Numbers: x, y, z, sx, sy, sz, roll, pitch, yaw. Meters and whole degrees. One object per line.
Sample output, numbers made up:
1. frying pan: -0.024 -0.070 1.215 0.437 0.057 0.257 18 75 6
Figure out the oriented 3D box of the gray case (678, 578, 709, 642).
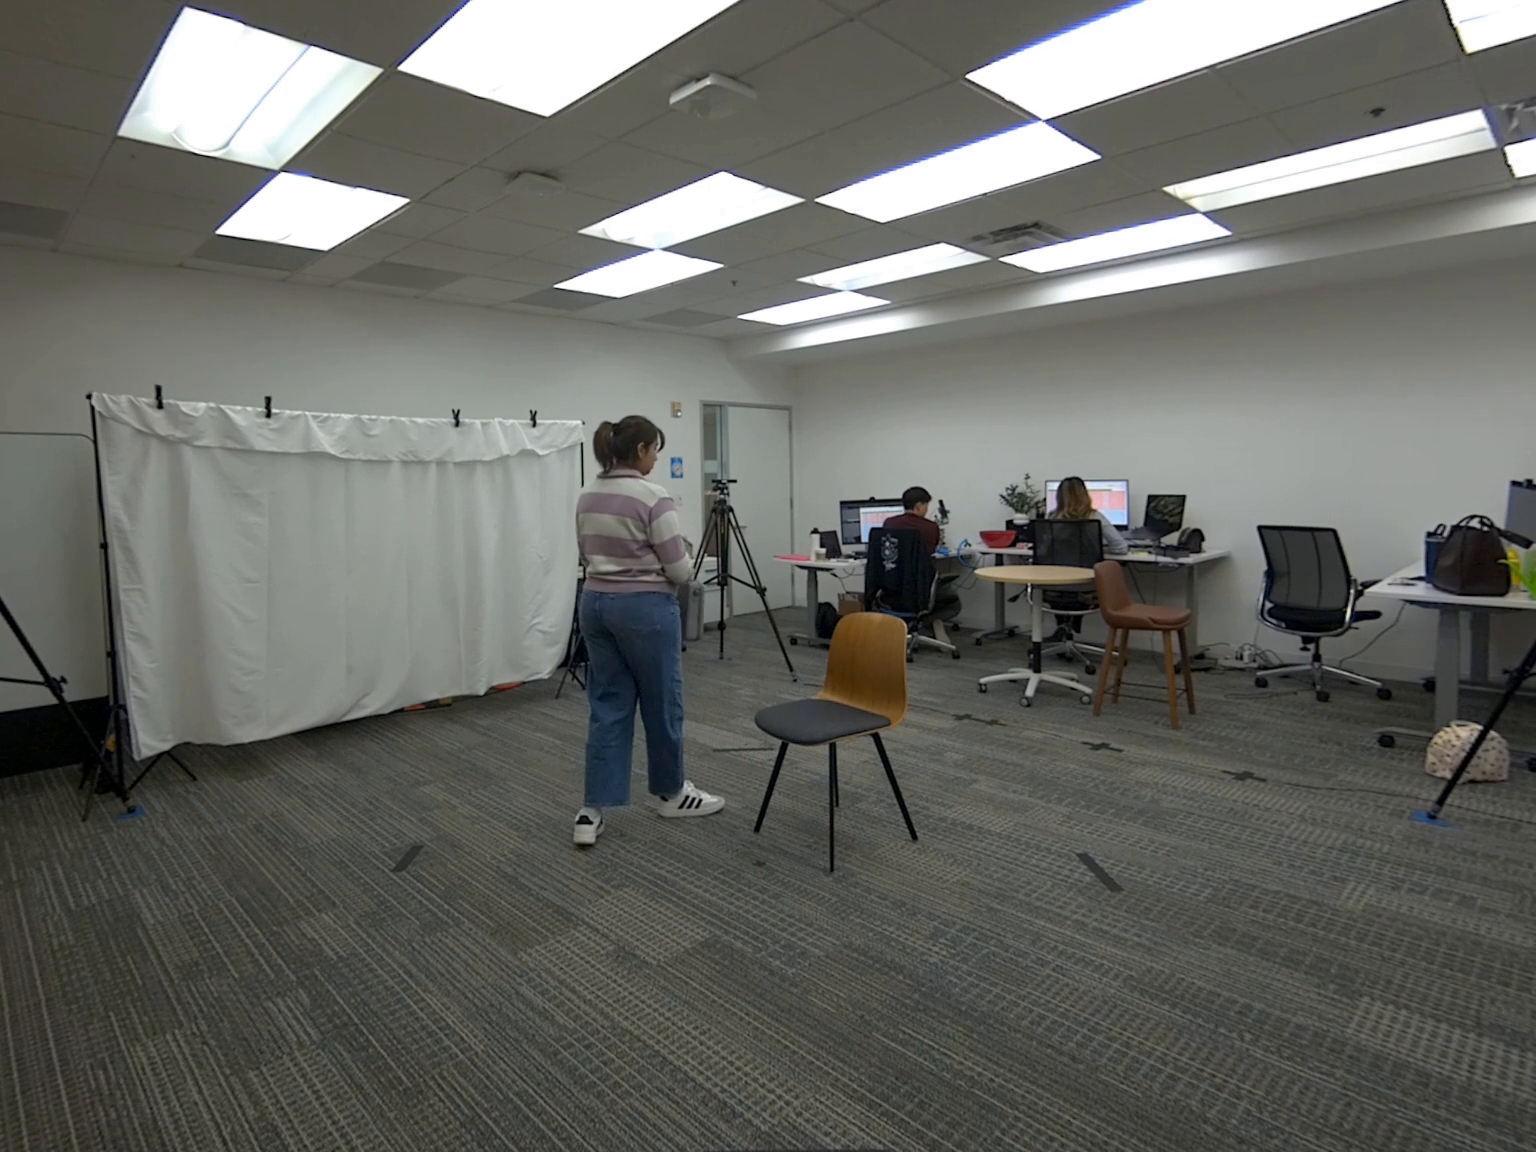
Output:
1. gray case: -0.387 0.137 3.656 0.101 0.261 0.264 7 -5 -43
